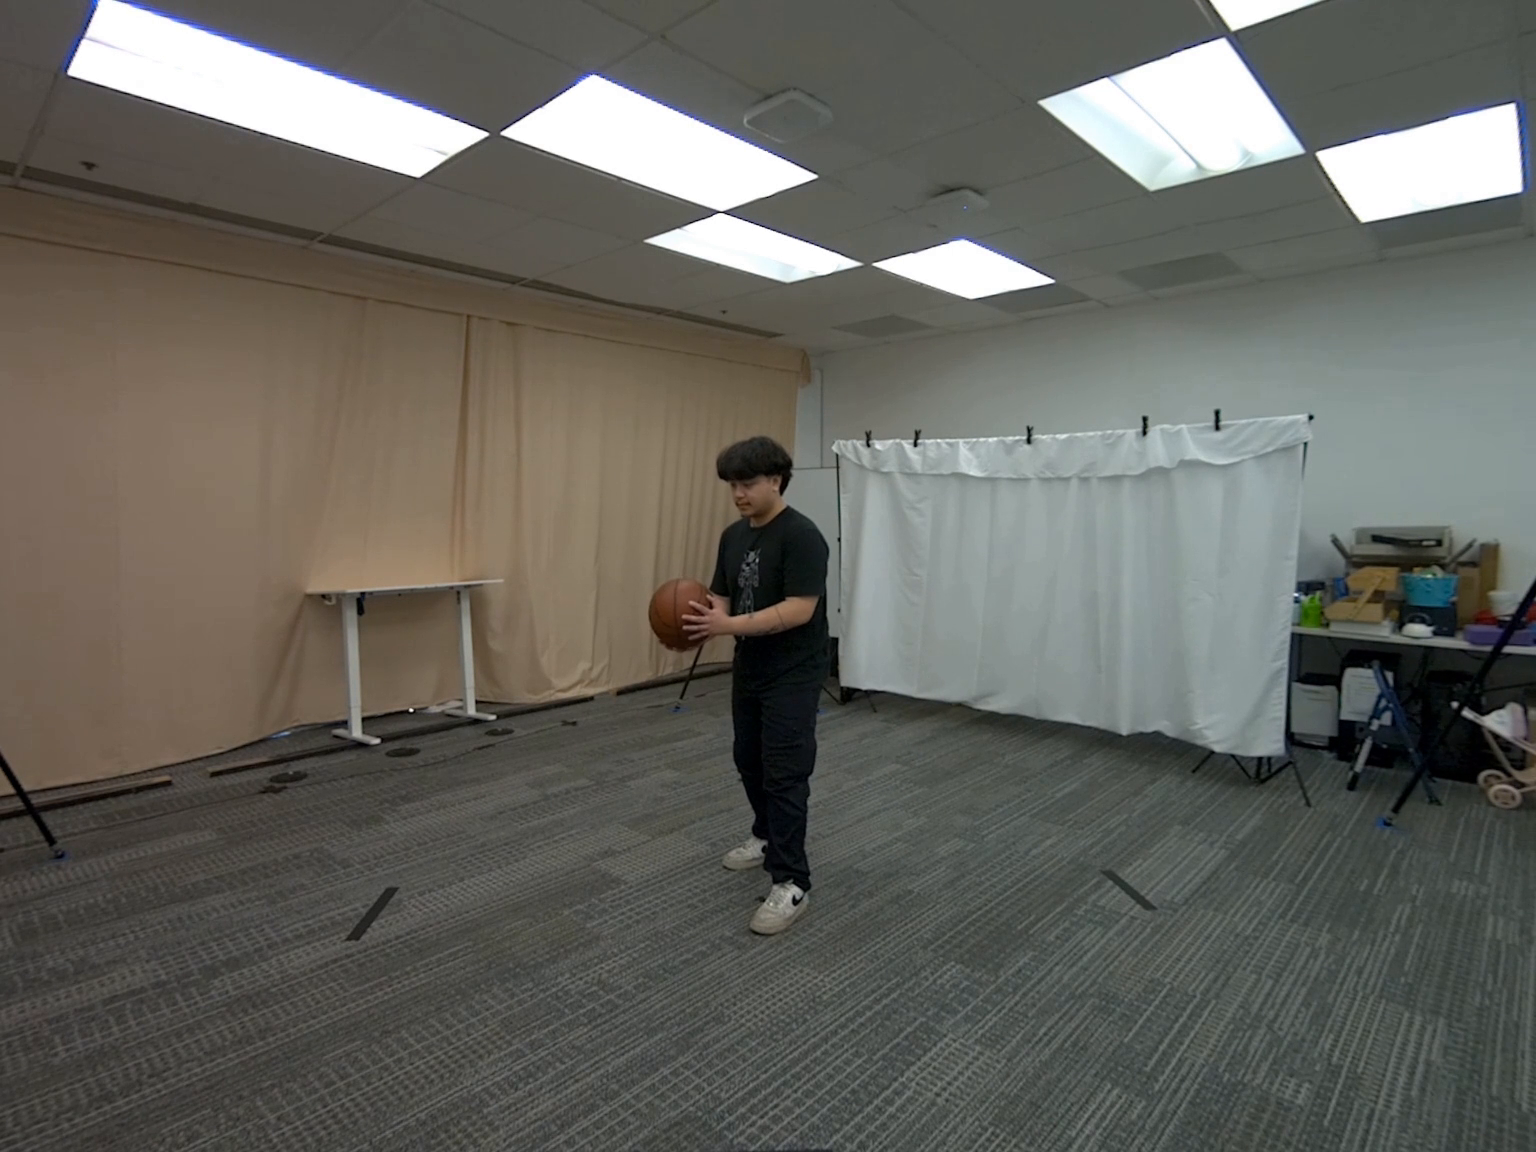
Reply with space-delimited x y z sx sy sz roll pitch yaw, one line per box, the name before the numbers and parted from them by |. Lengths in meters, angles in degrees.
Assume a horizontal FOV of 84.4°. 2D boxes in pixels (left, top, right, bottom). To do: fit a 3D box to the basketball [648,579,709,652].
basketball | -0.292 0.135 2.913 0.236 0.235 0.237 0 4 -2
